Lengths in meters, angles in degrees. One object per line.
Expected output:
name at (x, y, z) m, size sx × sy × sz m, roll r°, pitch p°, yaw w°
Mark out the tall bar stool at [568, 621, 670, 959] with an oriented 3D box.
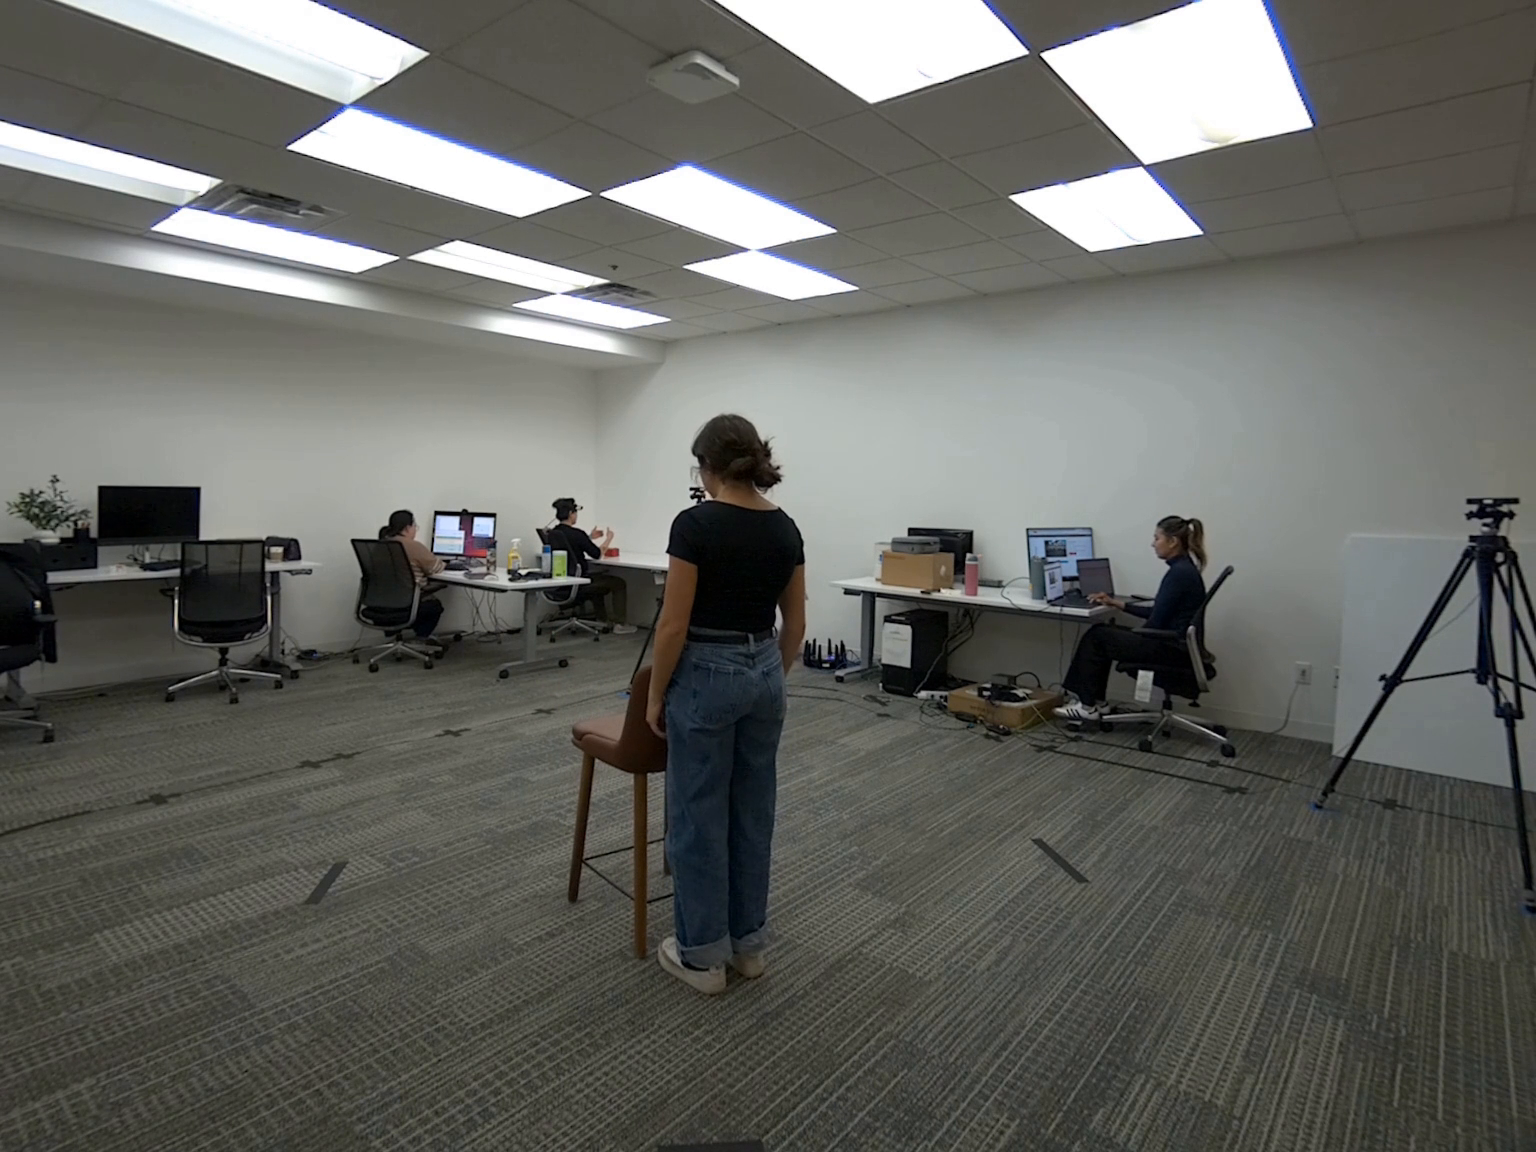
tall bar stool at (-0.372, 0.663, 2.759) m, size 0.443 × 0.886 × 0.484 m, roll -1°, pitch 6°, yaw -38°
